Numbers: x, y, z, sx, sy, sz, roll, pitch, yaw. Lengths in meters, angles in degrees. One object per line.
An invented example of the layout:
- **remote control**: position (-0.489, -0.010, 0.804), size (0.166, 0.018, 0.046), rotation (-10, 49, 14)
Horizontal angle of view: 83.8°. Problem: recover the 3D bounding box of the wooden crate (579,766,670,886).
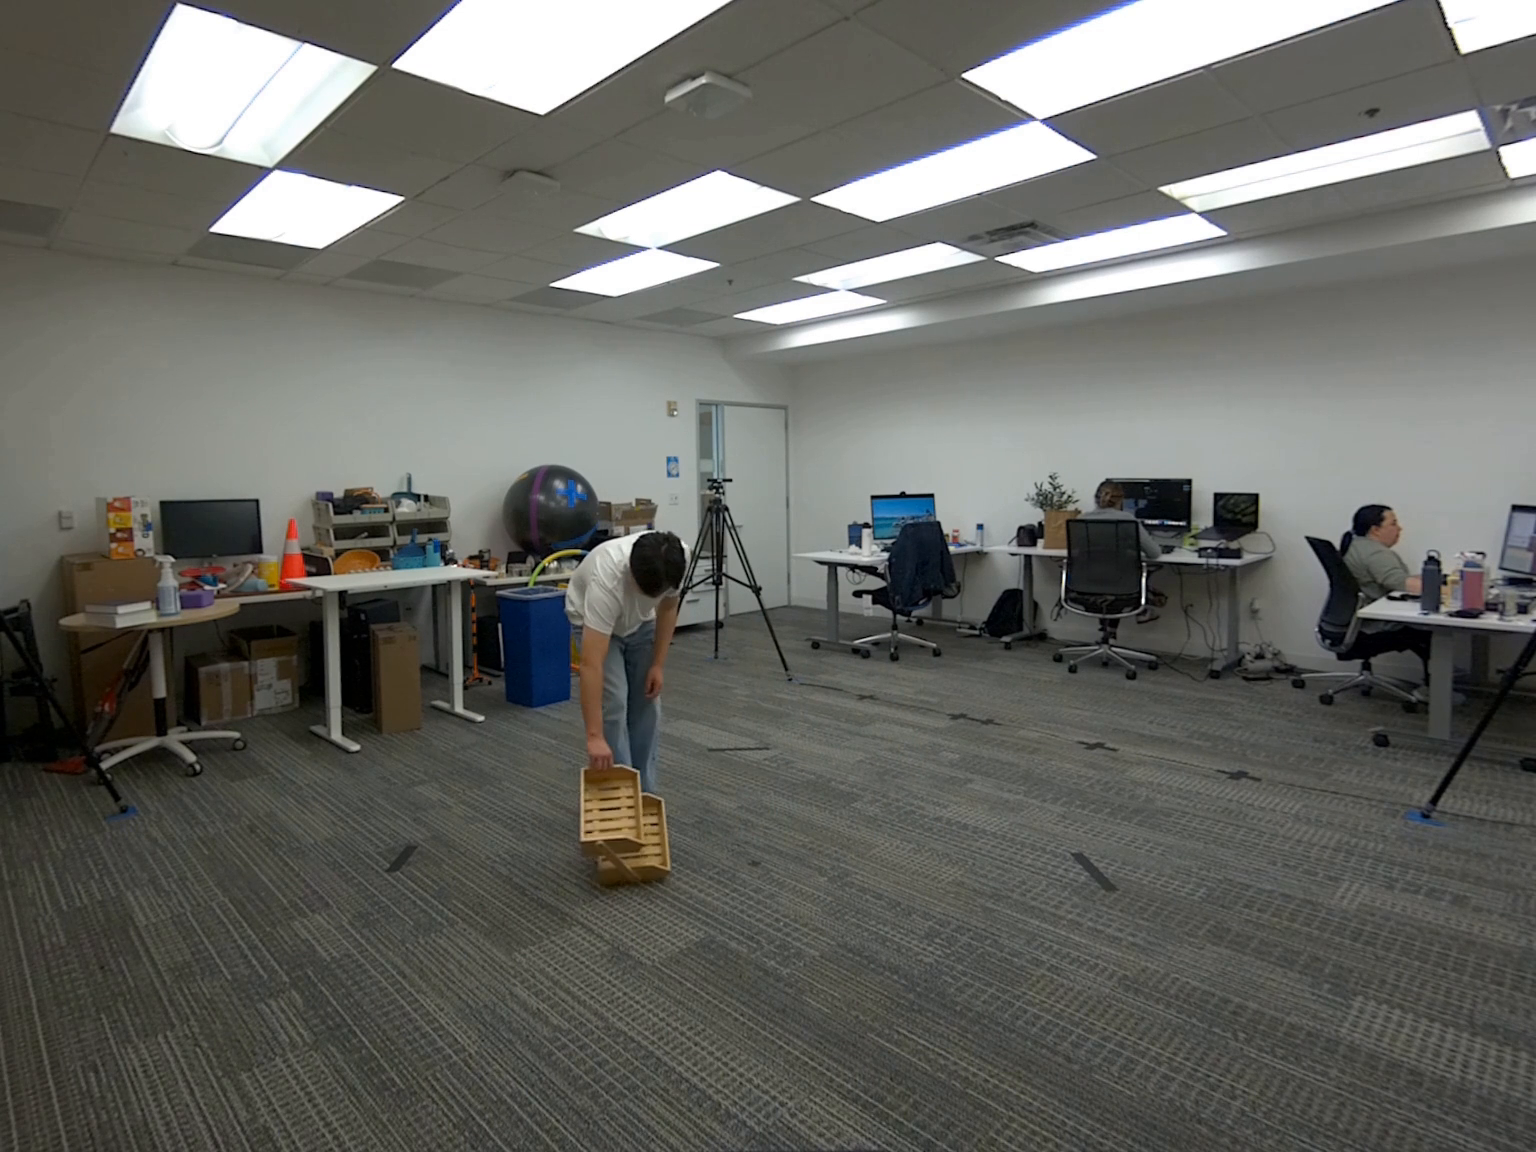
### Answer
- **wooden crate**: position (-0.500, 0.866, 3.026), size (0.299, 0.267, 0.335), rotation (-3, 37, -10)
